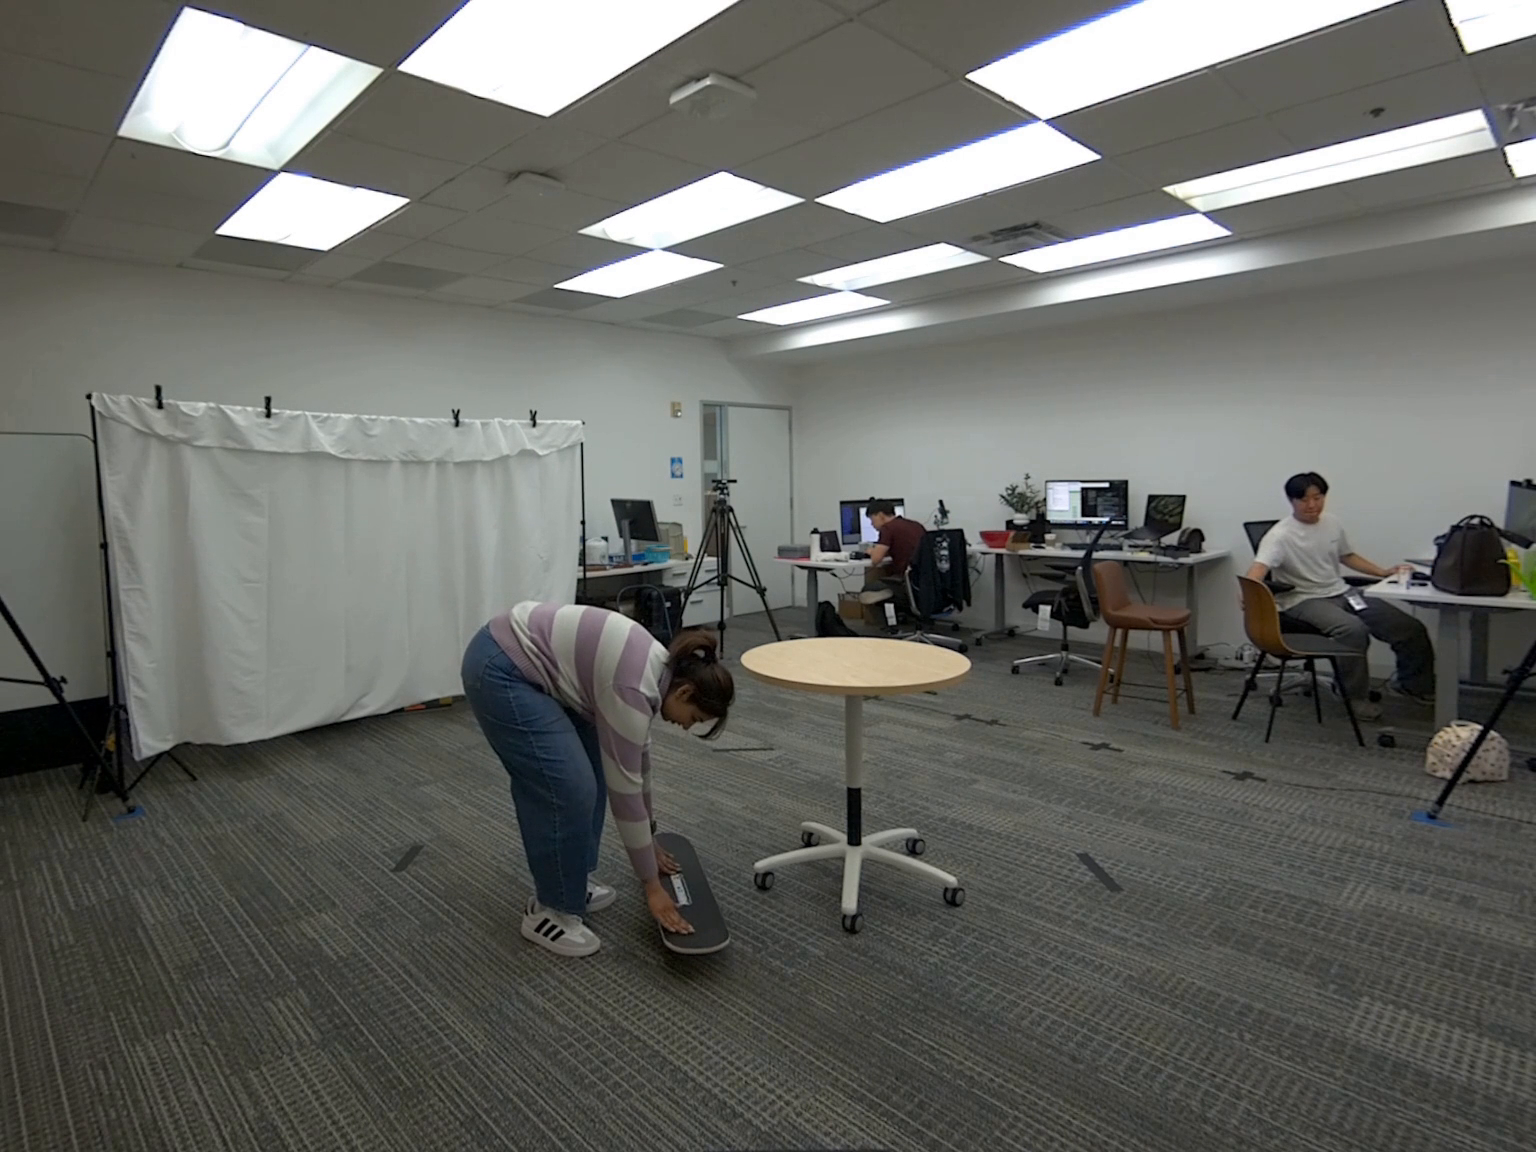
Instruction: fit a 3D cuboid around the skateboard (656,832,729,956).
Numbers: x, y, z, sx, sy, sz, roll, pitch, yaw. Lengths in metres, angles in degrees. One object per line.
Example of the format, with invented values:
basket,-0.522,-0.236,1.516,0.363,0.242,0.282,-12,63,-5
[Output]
skateboard,-0.274,1.036,2.747,0.191,0.110,0.799,-2,7,-15
